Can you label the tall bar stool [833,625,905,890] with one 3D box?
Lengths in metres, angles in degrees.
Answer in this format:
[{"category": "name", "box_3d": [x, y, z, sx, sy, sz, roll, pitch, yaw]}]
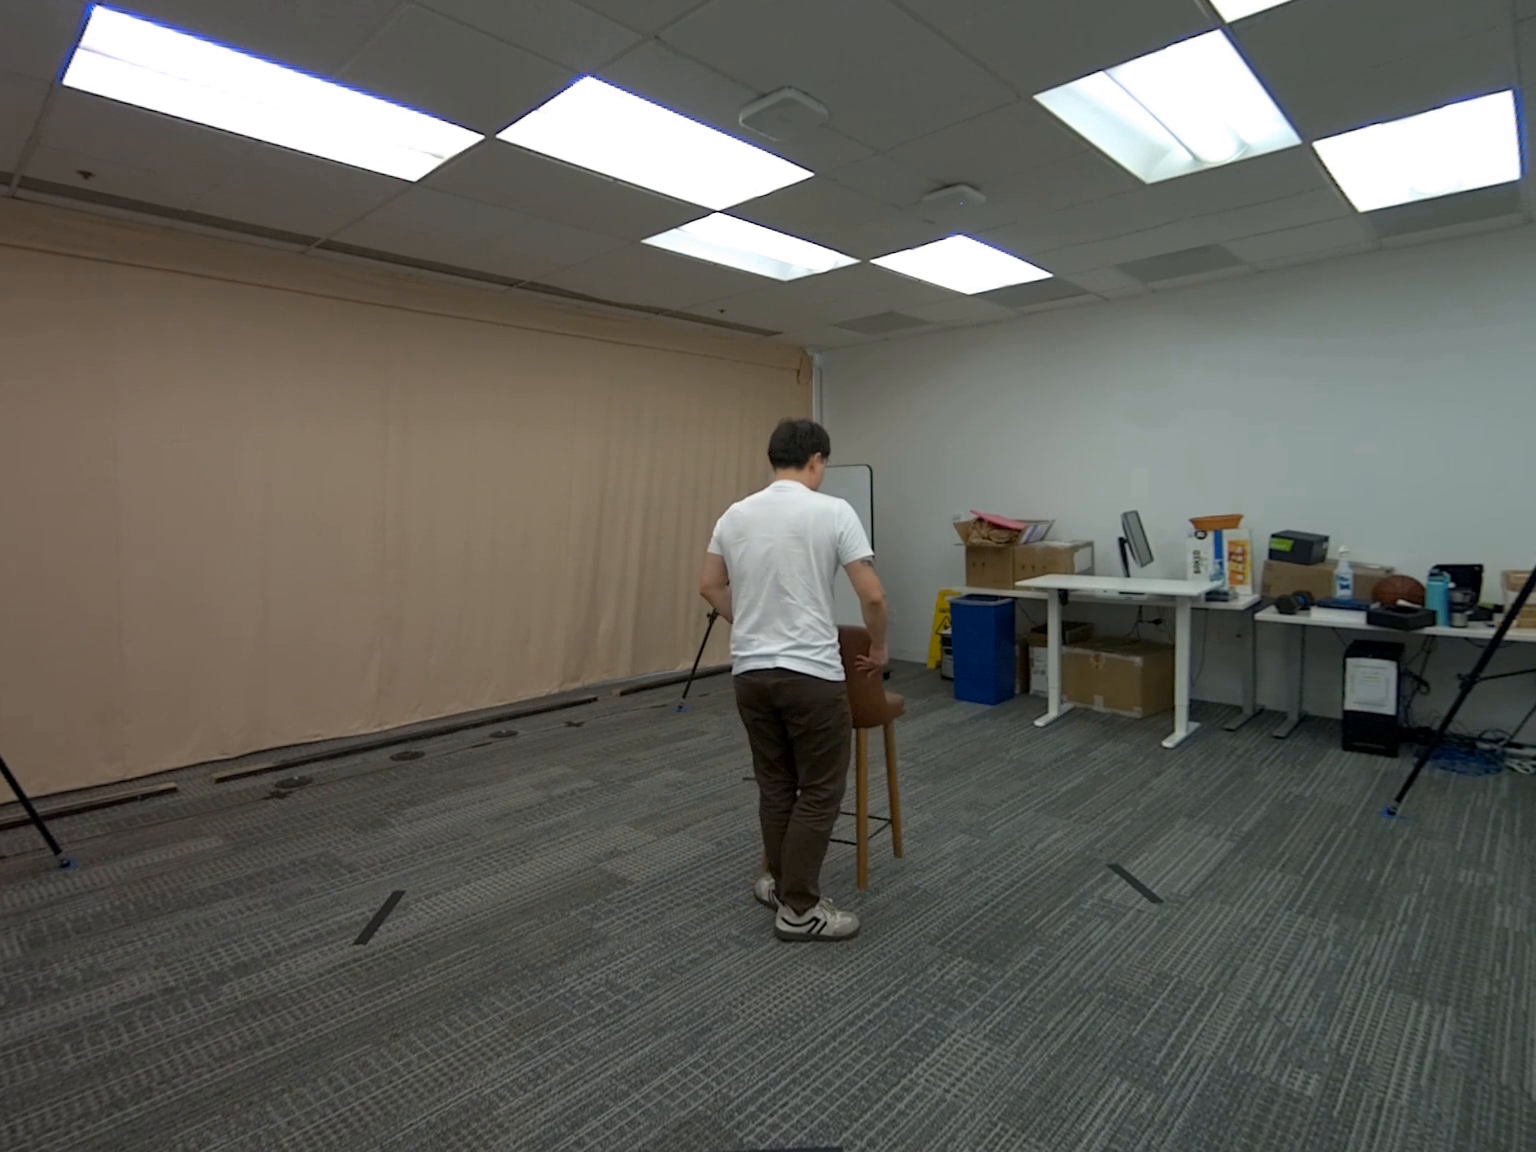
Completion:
[{"category": "tall bar stool", "box_3d": [0.244, 0.614, 3.070, 0.468, 0.890, 0.455, 0, -1, 26]}]
